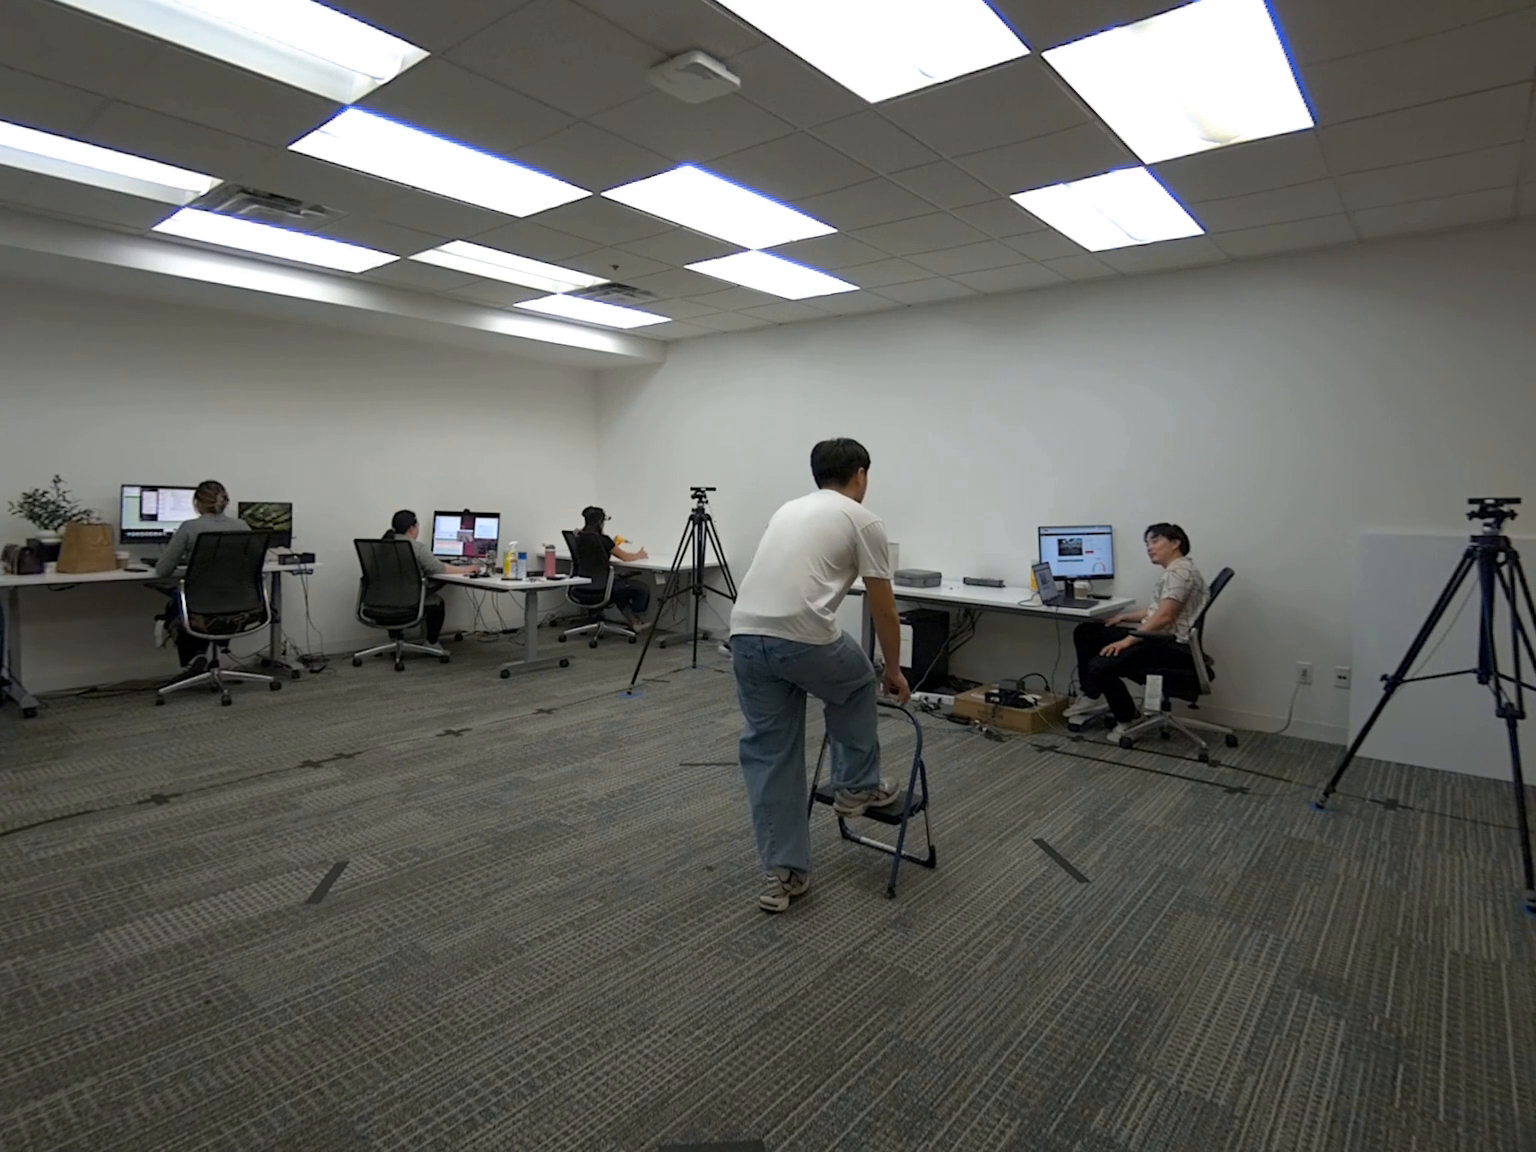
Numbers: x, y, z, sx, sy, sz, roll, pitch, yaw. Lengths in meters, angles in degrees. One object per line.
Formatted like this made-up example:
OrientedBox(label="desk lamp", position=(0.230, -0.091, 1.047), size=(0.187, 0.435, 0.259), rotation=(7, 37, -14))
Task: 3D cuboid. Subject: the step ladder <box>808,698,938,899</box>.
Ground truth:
OrientedBox(label="step ladder", position=(0.363, 0.770, 3.161), size=(0.445, 0.604, 0.339), rotation=(4, 4, 39))
